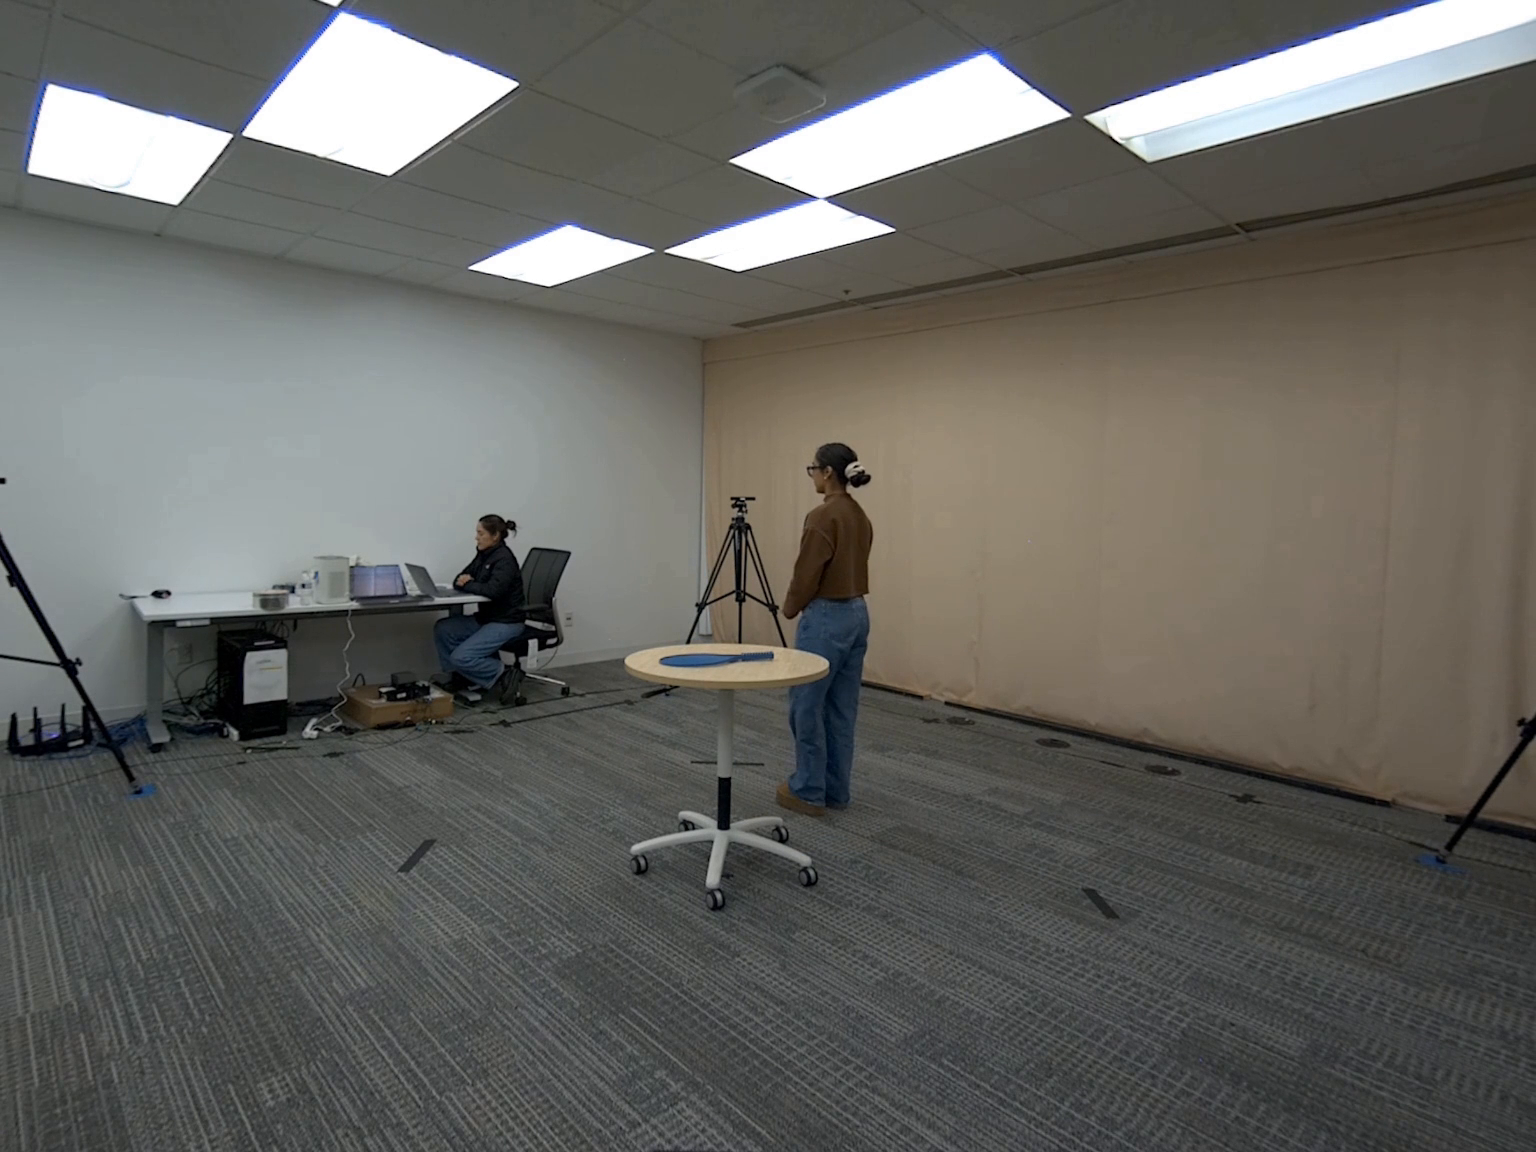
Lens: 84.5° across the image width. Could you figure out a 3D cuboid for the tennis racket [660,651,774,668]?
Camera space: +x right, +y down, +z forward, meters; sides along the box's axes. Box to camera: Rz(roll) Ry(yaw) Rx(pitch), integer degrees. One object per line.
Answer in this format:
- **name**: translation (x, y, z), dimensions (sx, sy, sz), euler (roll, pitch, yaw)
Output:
- **tennis racket**: translation (-0.203, 0.312, 3.129), dimensions (0.430, 0.031, 0.216), euler (-1, 5, -10)
